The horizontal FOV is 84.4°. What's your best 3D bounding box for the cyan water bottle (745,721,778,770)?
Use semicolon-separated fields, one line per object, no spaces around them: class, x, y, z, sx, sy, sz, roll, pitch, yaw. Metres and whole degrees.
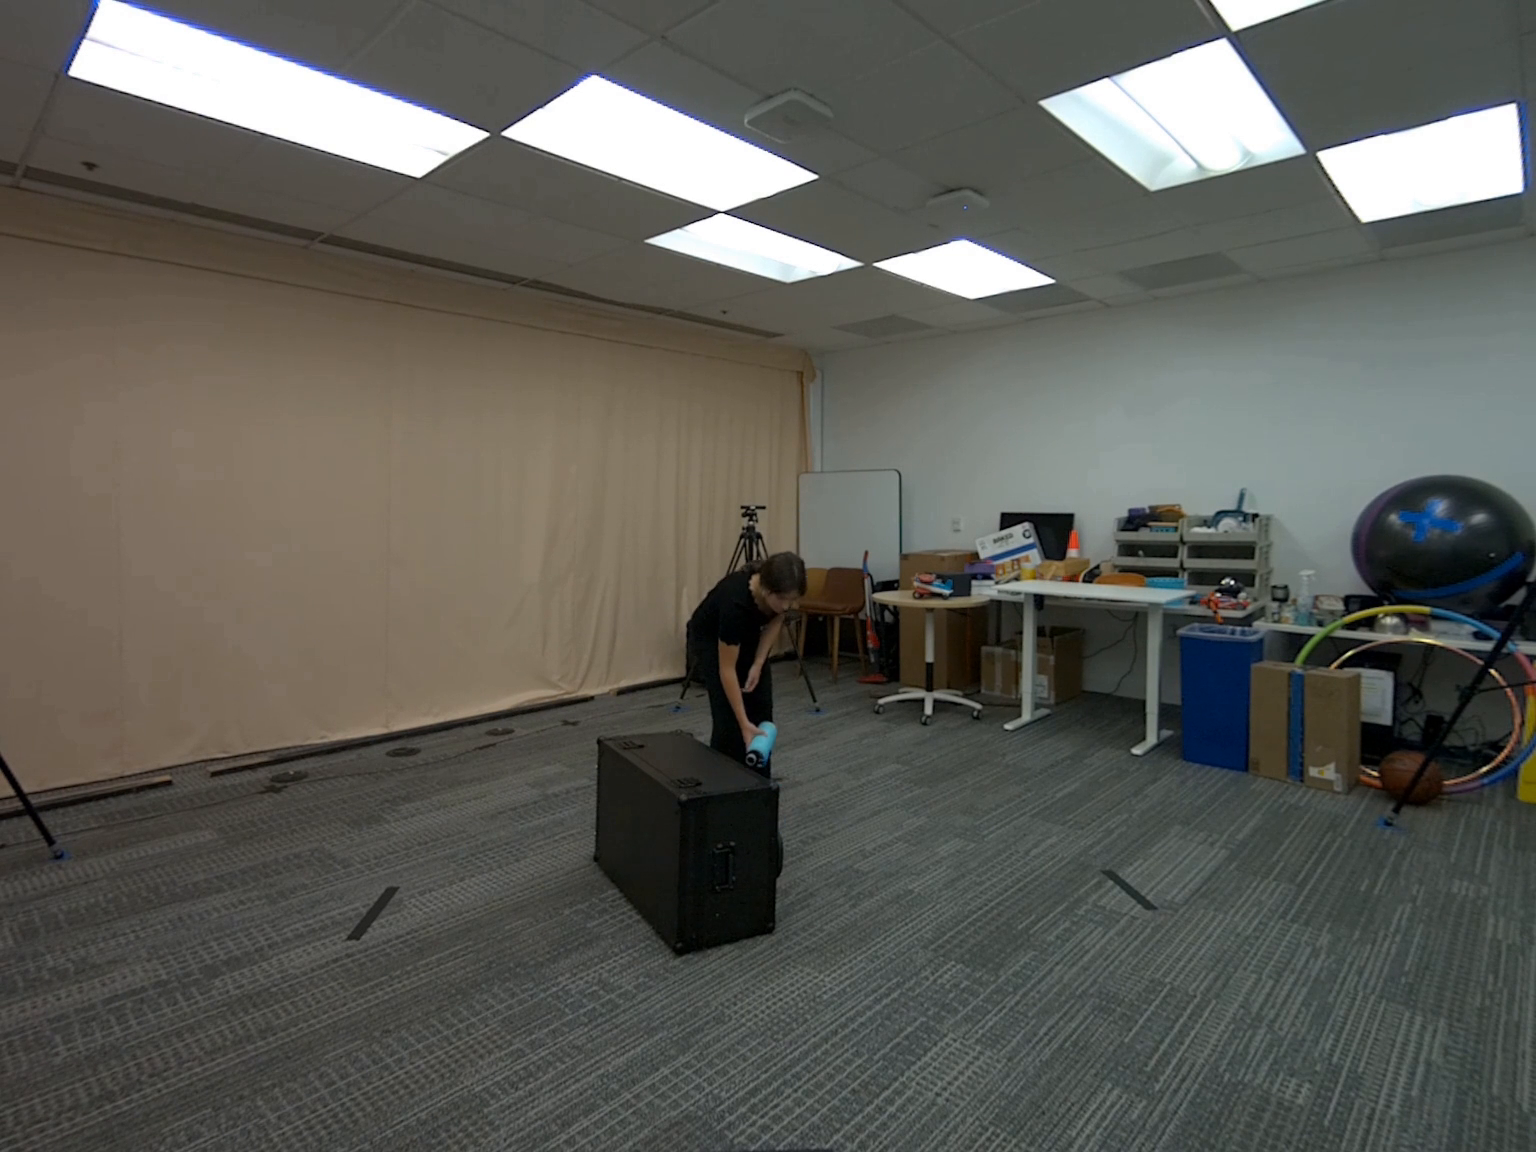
cyan water bottle;-0.033;0.713;3.551;0.093;0.091;0.283;0;15;7
